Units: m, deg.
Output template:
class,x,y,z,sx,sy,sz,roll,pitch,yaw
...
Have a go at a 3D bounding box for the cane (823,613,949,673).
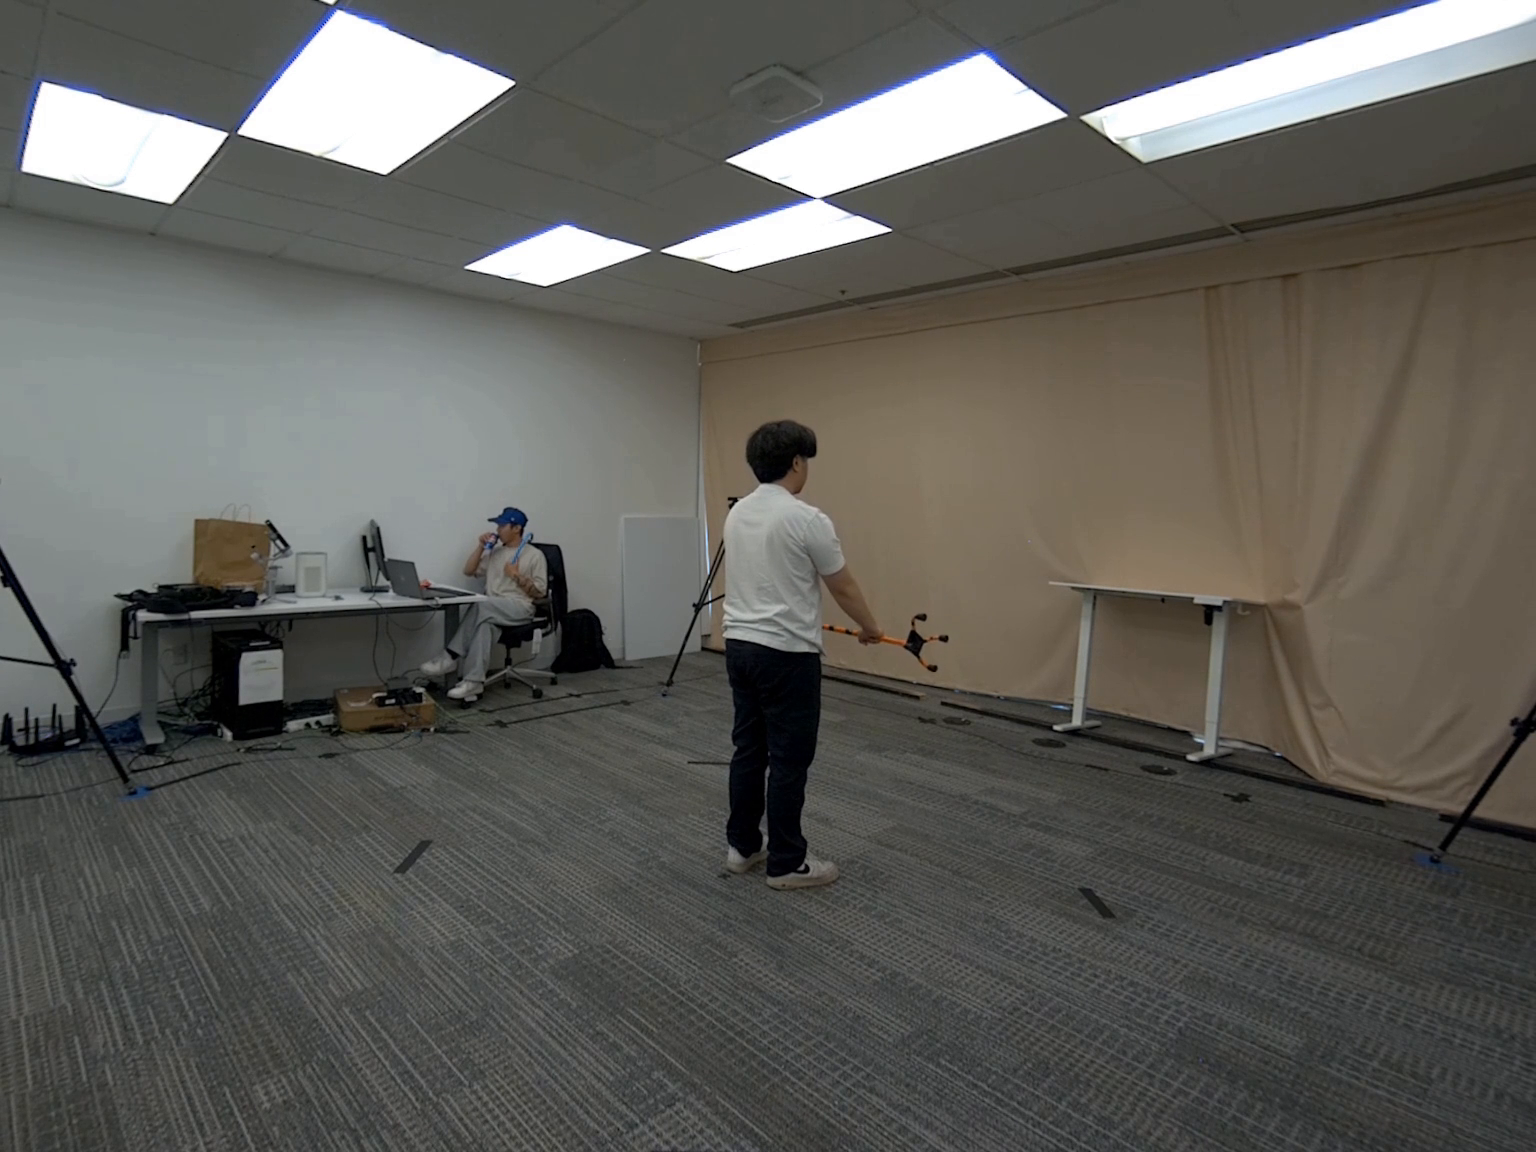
class,x,y,z,sx,sy,sz,roll,pitch,yaw
cane,0.257,0.202,3.395,0.932,0.152,0.200,8,-24,46
